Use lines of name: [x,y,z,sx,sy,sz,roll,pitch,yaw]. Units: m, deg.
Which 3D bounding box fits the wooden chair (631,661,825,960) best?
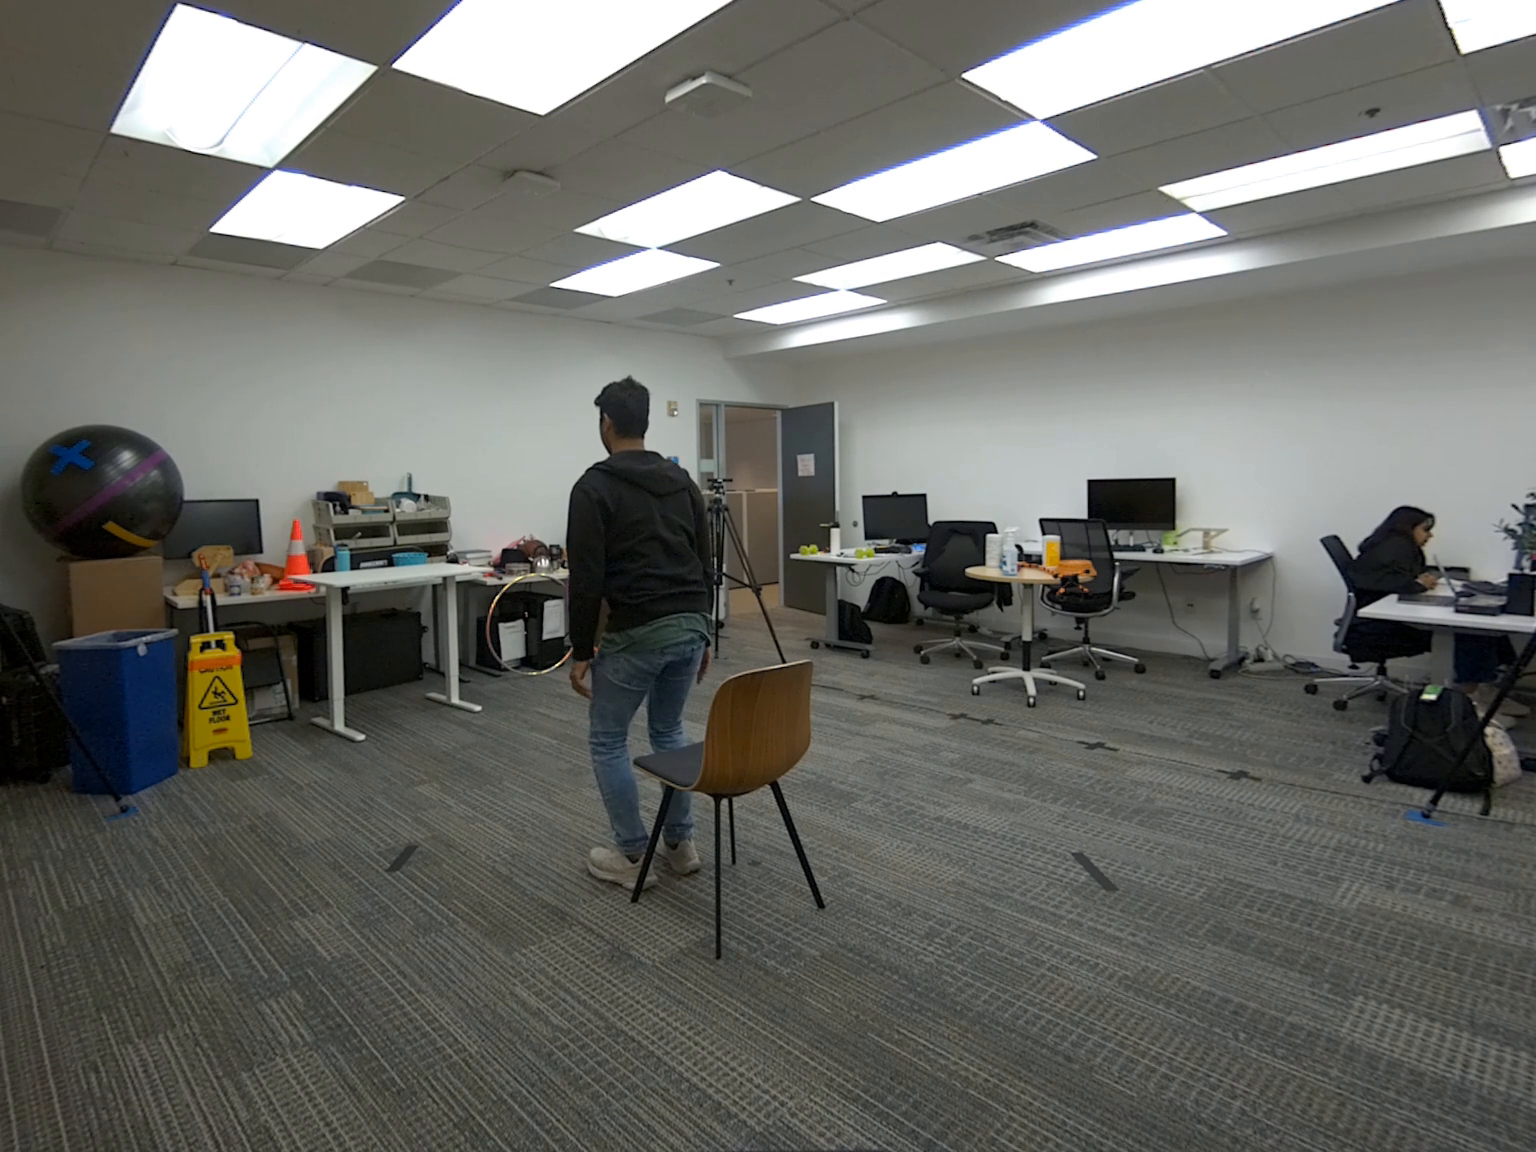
wooden chair: [-0.138,0.661,2.773,0.466,0.871,0.540,-5,10,-40]
